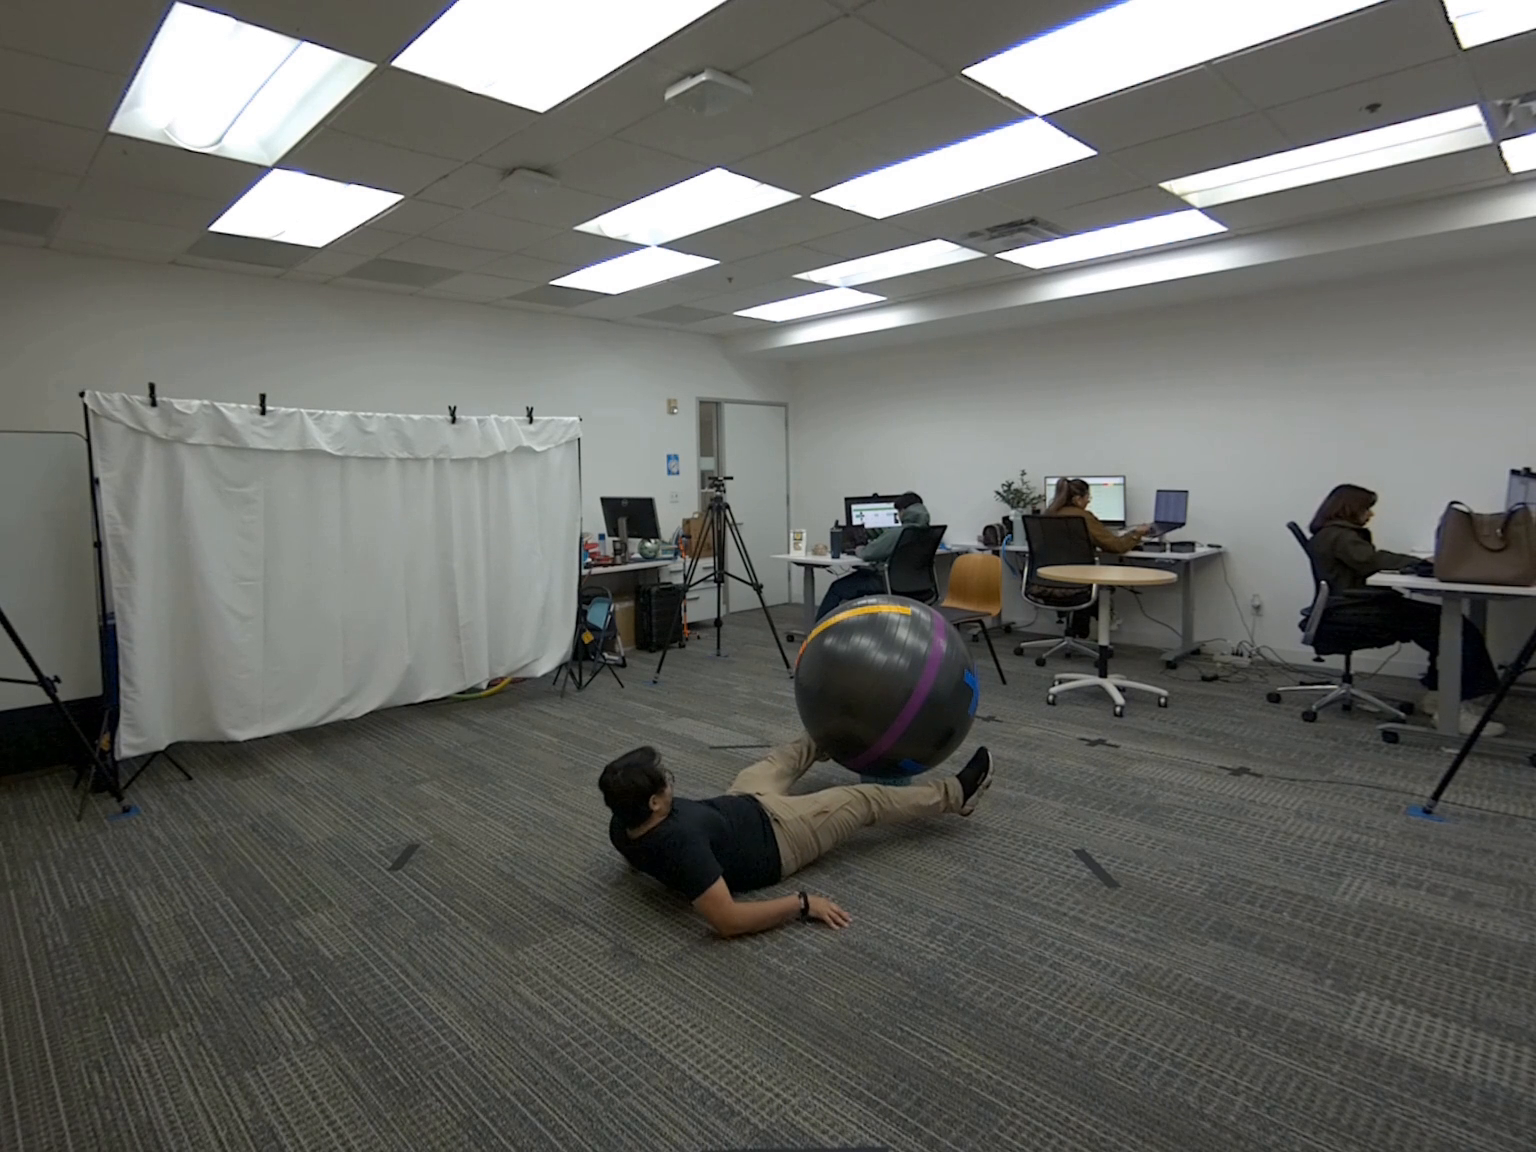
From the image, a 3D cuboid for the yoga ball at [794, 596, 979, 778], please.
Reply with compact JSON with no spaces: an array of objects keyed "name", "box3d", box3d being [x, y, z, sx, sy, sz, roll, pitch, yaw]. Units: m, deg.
[{"name":"yoga ball","box3d":[0.491,0.460,3.590,0.757,0.755,0.762,-1,5,-2]}]
